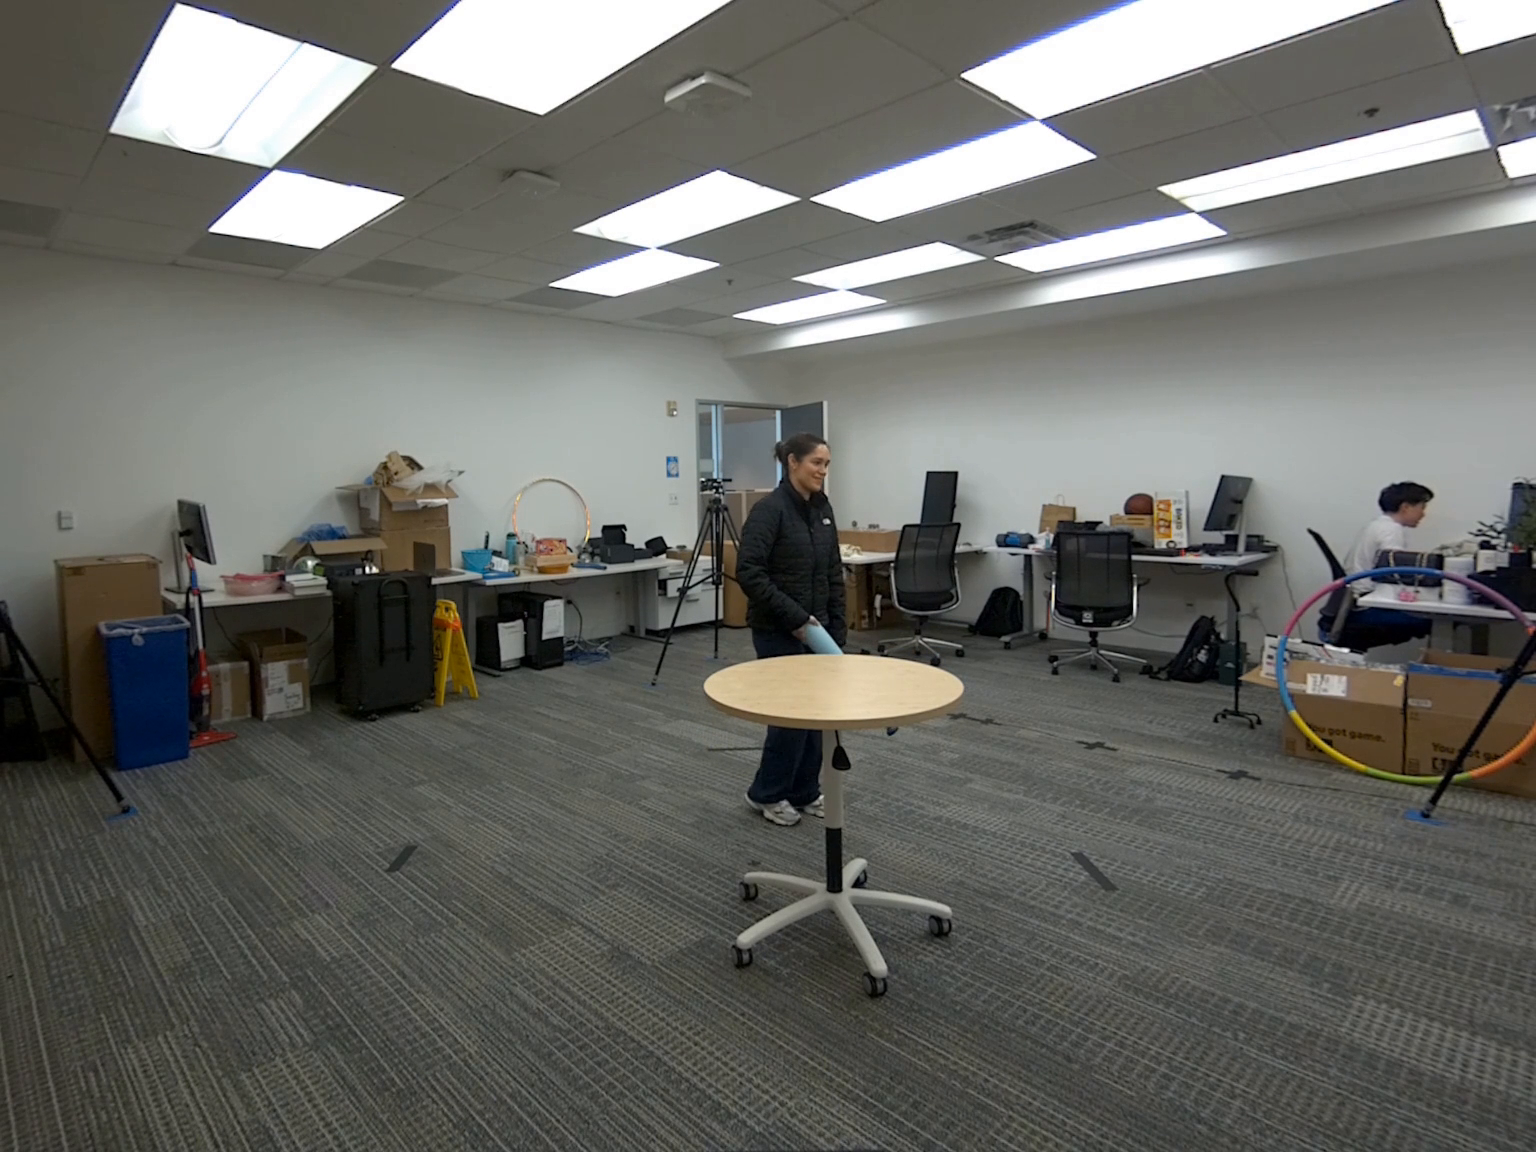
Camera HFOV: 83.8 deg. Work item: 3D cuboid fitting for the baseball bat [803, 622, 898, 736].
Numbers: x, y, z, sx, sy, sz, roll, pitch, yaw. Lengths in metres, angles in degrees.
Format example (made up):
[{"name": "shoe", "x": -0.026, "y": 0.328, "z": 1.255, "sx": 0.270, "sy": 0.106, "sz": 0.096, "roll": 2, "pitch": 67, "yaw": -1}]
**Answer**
[{"name": "baseball bat", "x": 0.321, "y": 0.371, "z": 3.284, "sx": 0.089, "sy": 0.554, "sz": 0.087, "roll": -37, "pitch": -16, "yaw": -13}]
